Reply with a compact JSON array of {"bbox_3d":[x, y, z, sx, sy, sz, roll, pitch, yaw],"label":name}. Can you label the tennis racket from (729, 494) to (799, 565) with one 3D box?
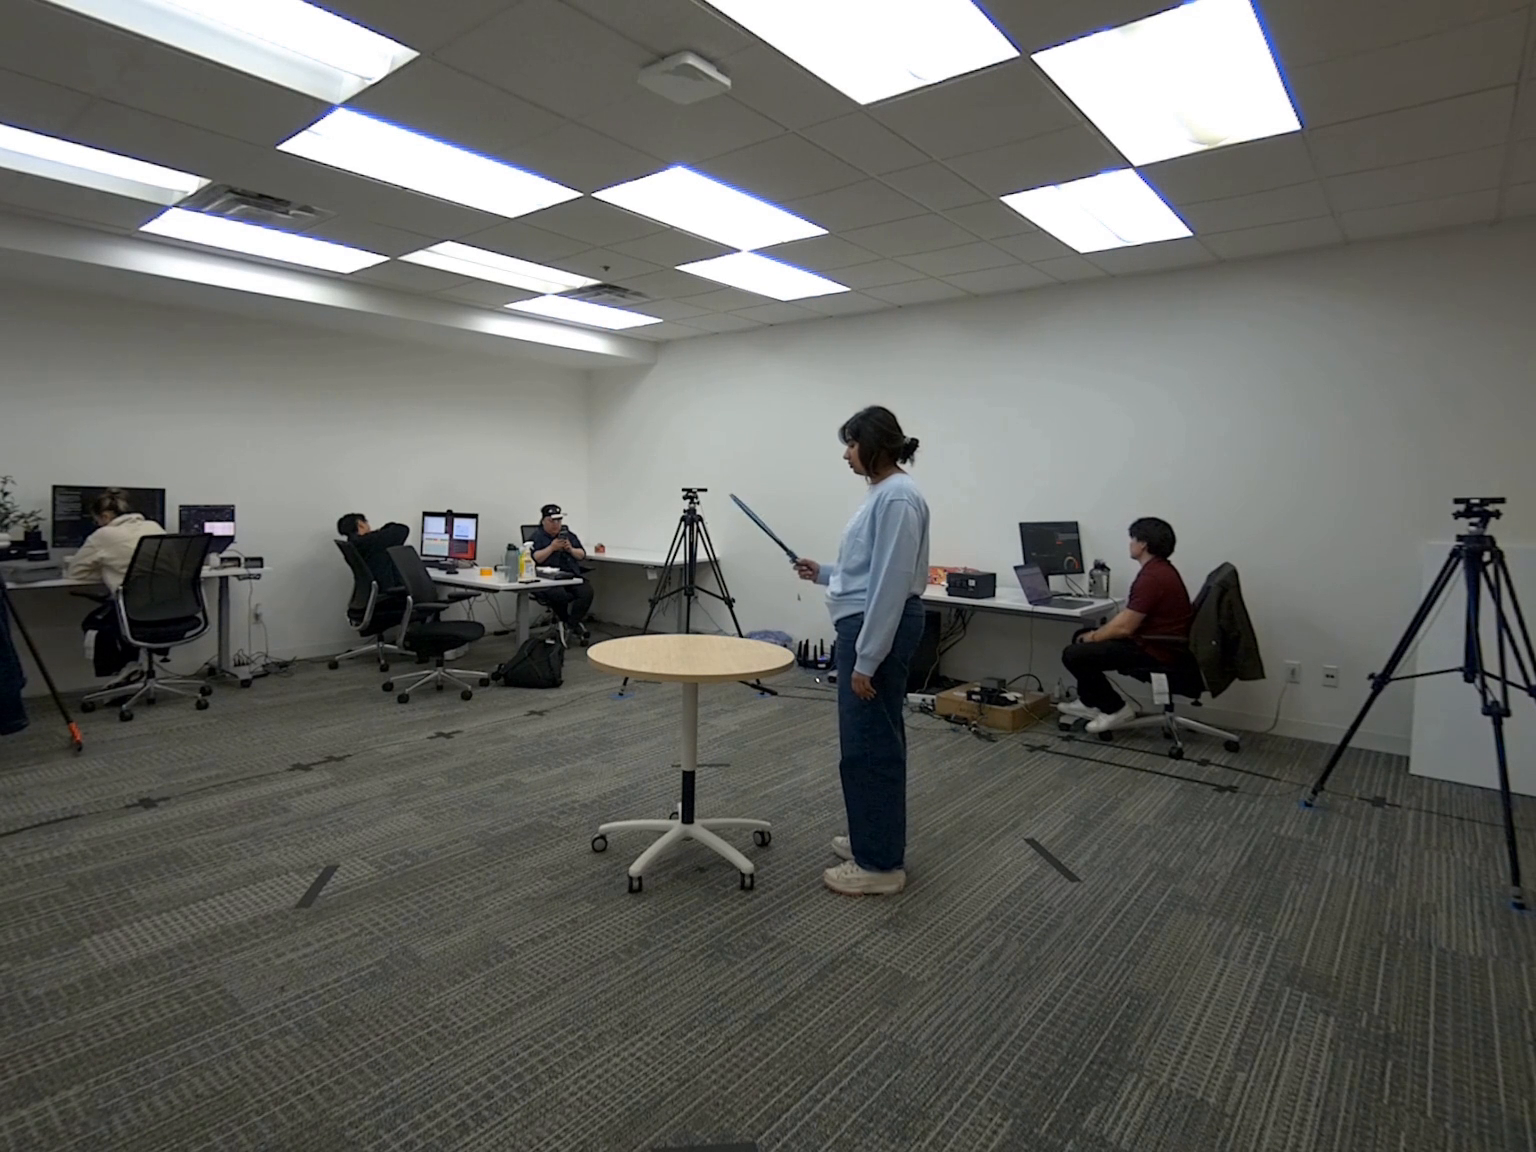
[{"bbox_3d":[0.000,-0.154,3.243,0.032,0.433,0.214,-44,0,4],"label":"tennis racket"}]
